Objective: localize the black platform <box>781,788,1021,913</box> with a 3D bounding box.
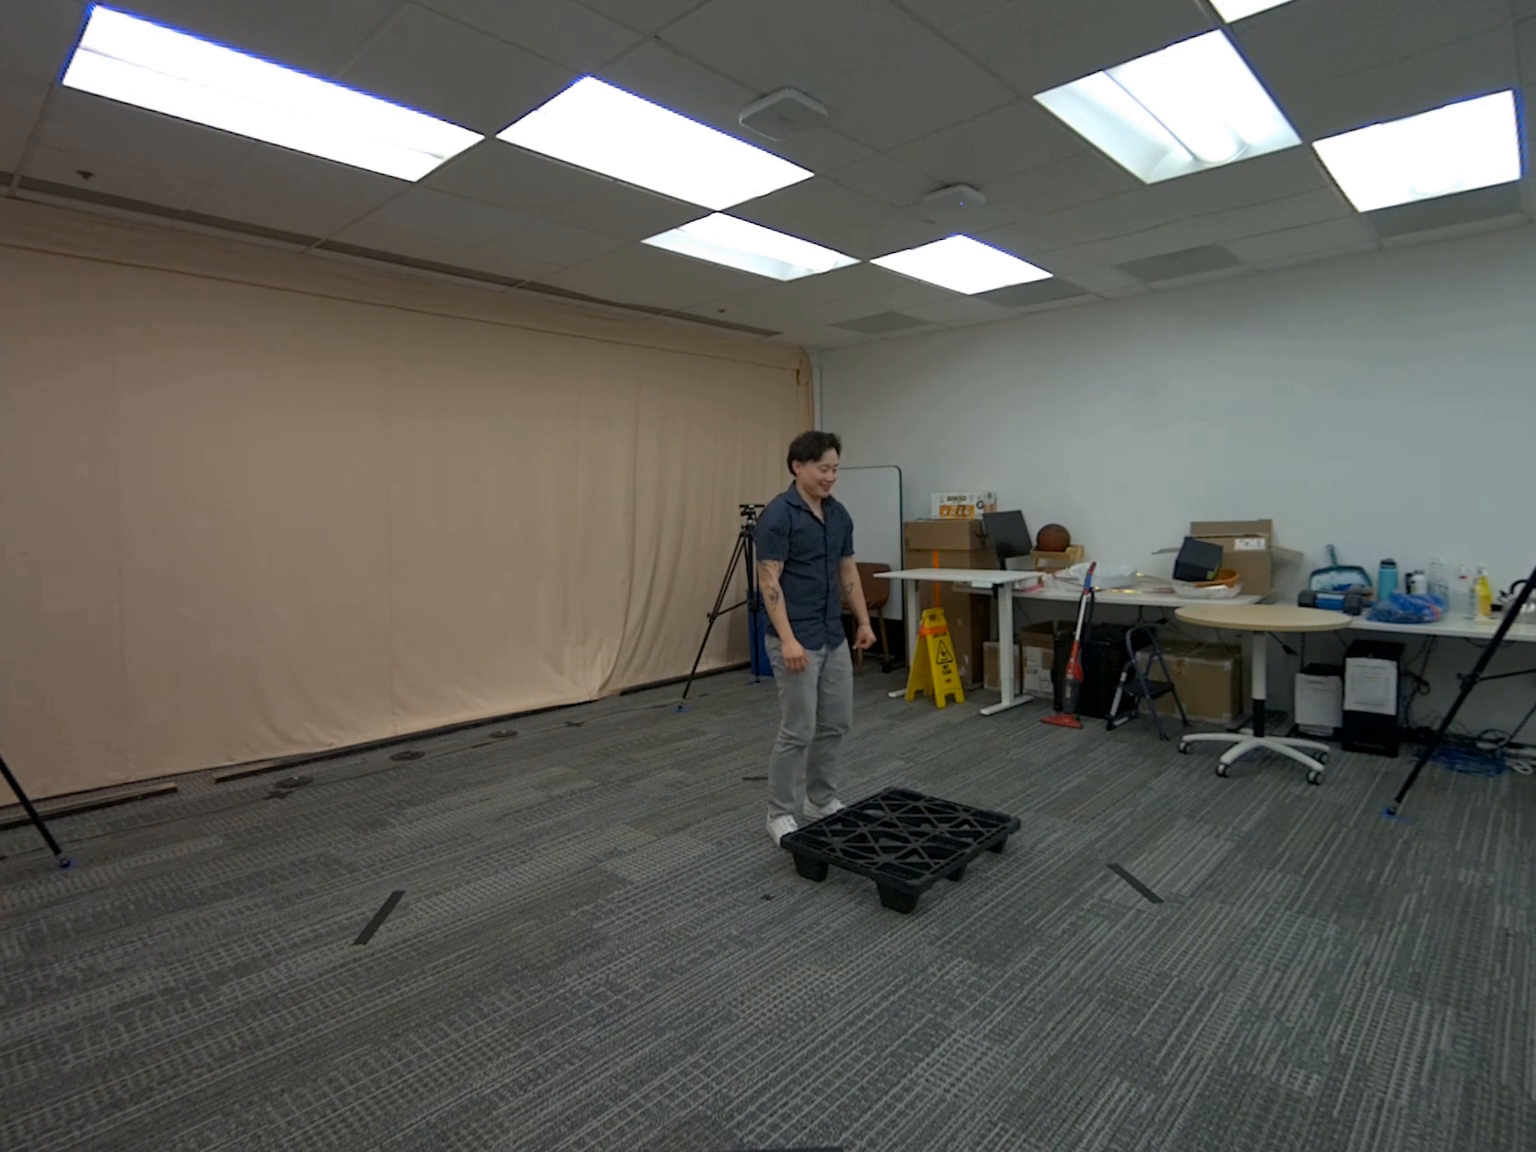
[{"bbox_3d":[0.537,1.042,3.247,0.625,0.143,0.781,4,7,42],"label":"black platform"}]
